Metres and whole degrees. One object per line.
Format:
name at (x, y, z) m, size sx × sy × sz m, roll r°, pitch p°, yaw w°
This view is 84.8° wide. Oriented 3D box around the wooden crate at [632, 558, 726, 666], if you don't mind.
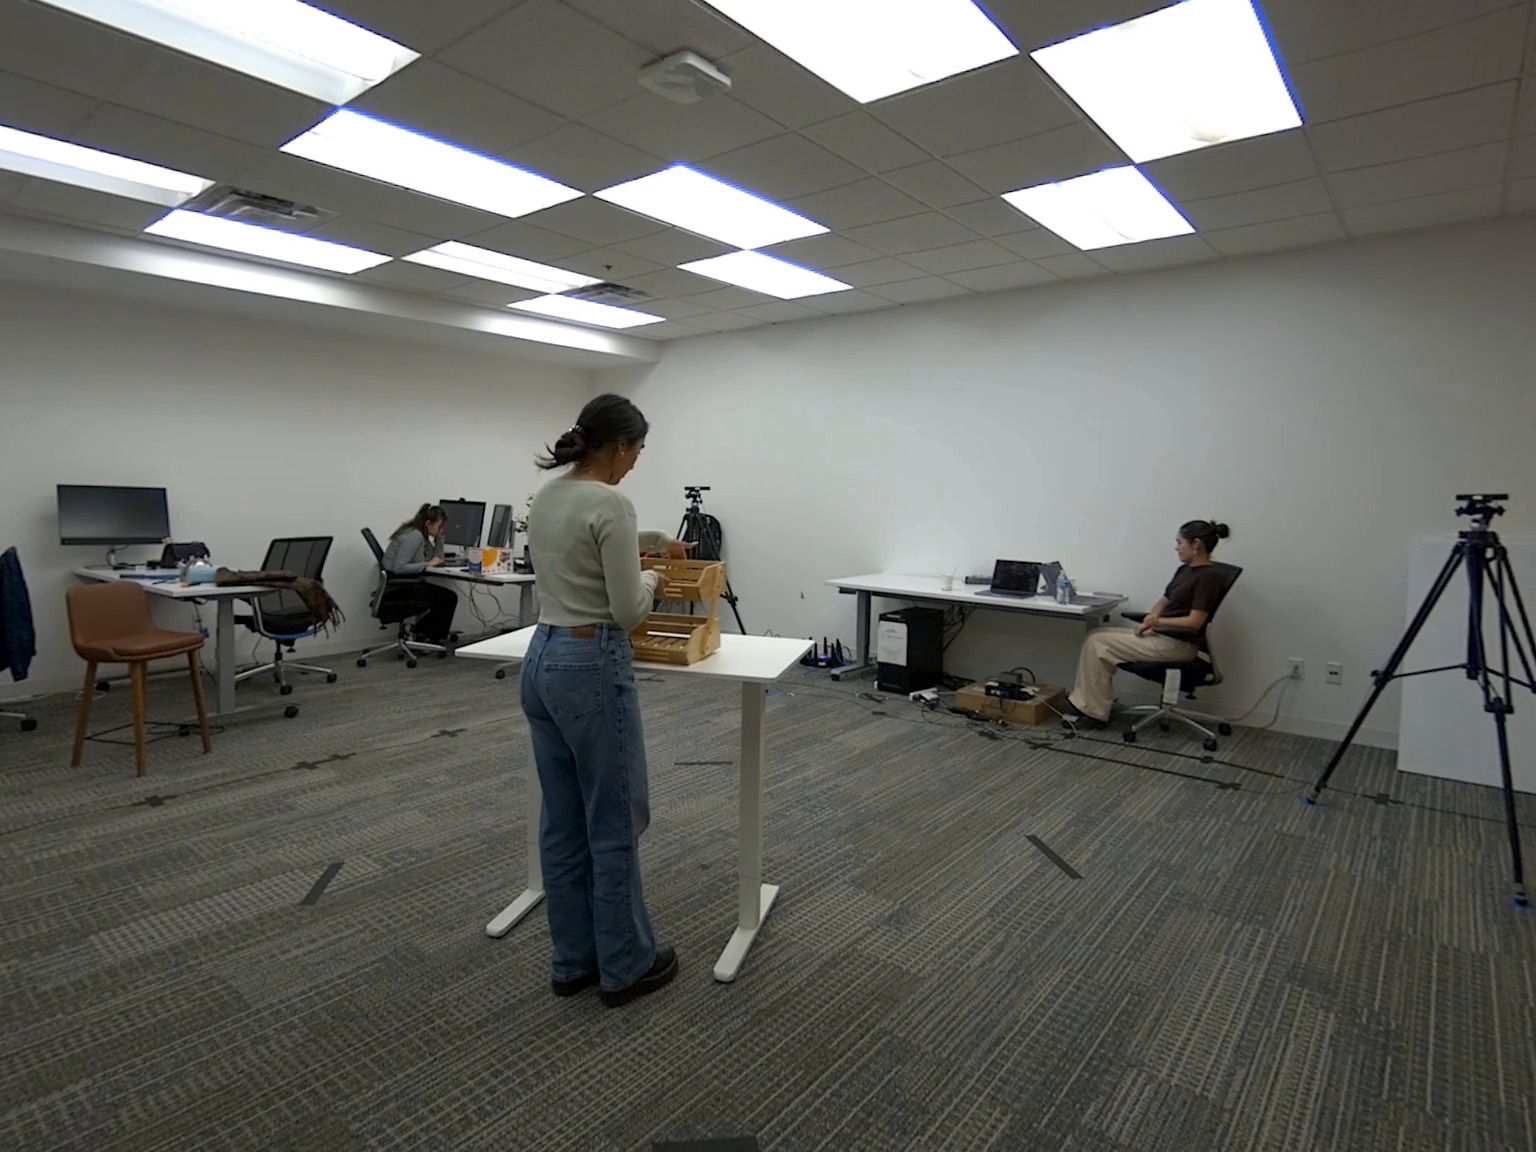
wooden crate at (-0.330, 0.097, 2.583) m, size 0.332 × 0.271 × 0.297 m, roll 3°, pitch 8°, yaw 21°
